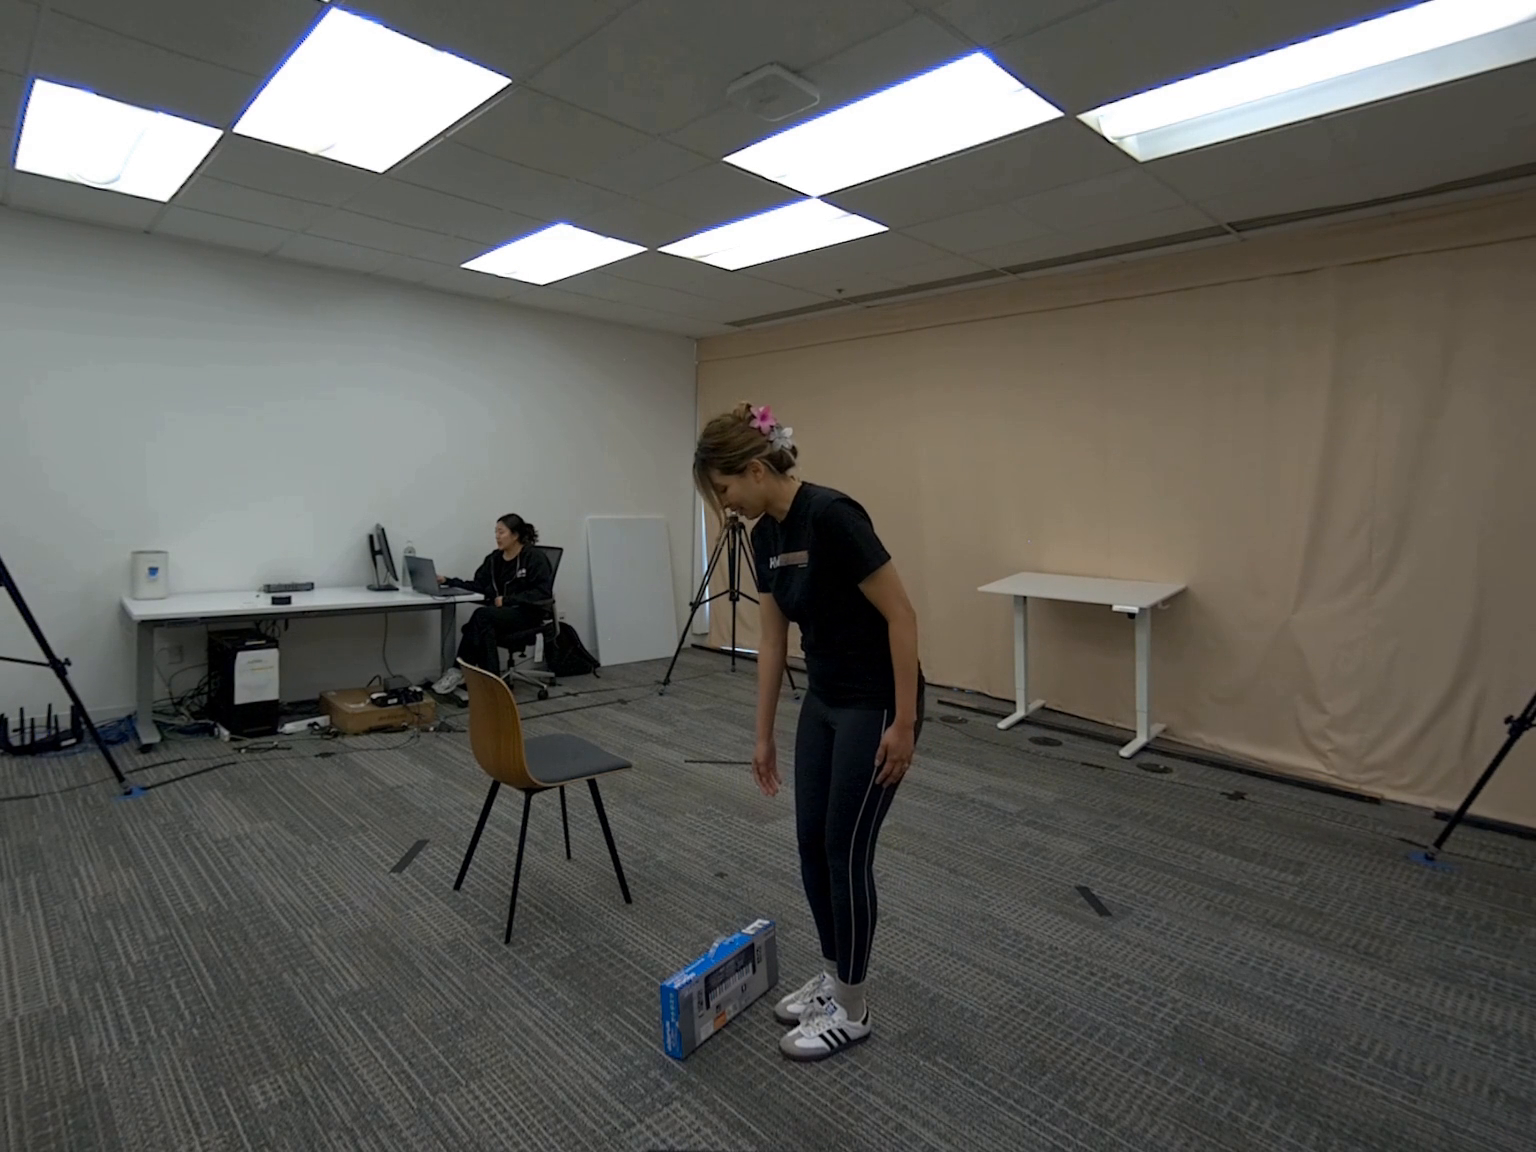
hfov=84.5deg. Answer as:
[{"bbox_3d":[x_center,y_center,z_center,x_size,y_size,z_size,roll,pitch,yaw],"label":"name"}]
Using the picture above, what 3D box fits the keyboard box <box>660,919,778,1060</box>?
[{"bbox_3d":[-0.123,1.098,2.258,0.060,0.176,0.428,-3,1,35],"label":"keyboard box"}]
